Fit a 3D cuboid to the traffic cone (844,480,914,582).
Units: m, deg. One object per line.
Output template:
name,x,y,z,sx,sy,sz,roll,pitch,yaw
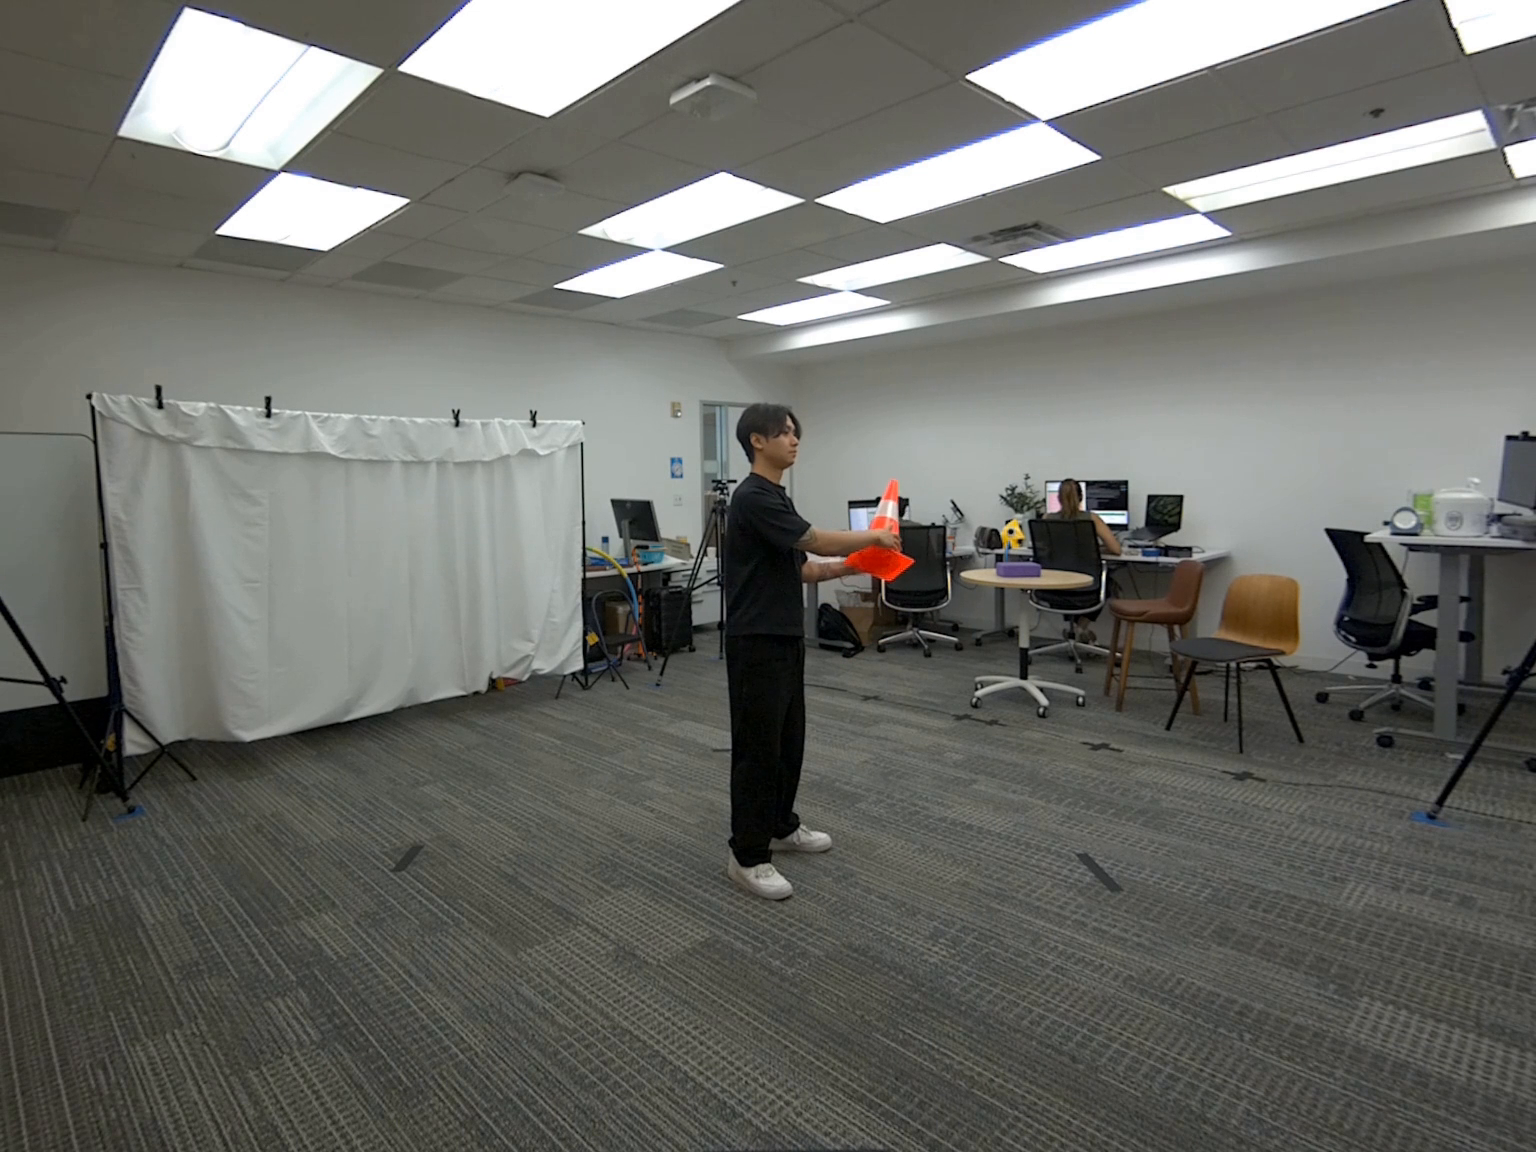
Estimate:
traffic cone,0.449,-0.199,3.201,0.203,0.389,0.202,22,-30,-8
